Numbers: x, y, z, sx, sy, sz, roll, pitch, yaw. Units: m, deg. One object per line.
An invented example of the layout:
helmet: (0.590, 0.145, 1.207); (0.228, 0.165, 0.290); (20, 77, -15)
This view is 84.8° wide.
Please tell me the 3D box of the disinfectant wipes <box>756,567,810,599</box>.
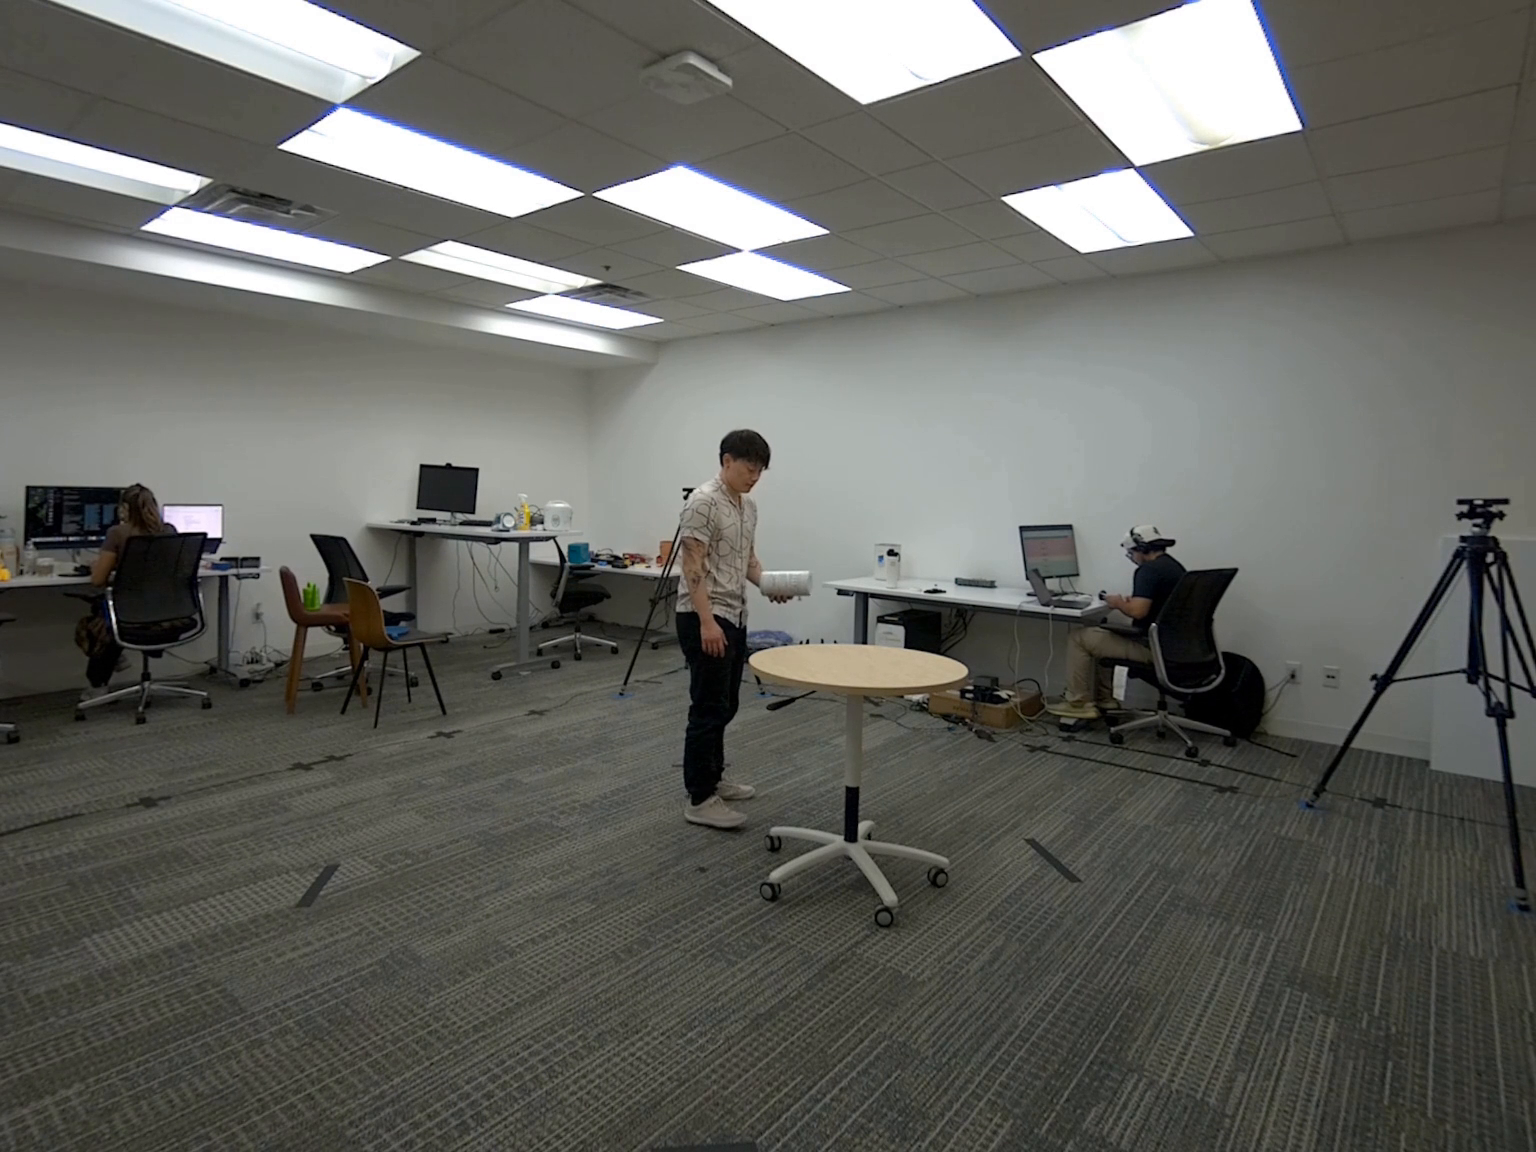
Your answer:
disinfectant wipes: (0.063, 0.029, 3.678); (0.220, 0.117, 0.116); (-2, 3, 12)
